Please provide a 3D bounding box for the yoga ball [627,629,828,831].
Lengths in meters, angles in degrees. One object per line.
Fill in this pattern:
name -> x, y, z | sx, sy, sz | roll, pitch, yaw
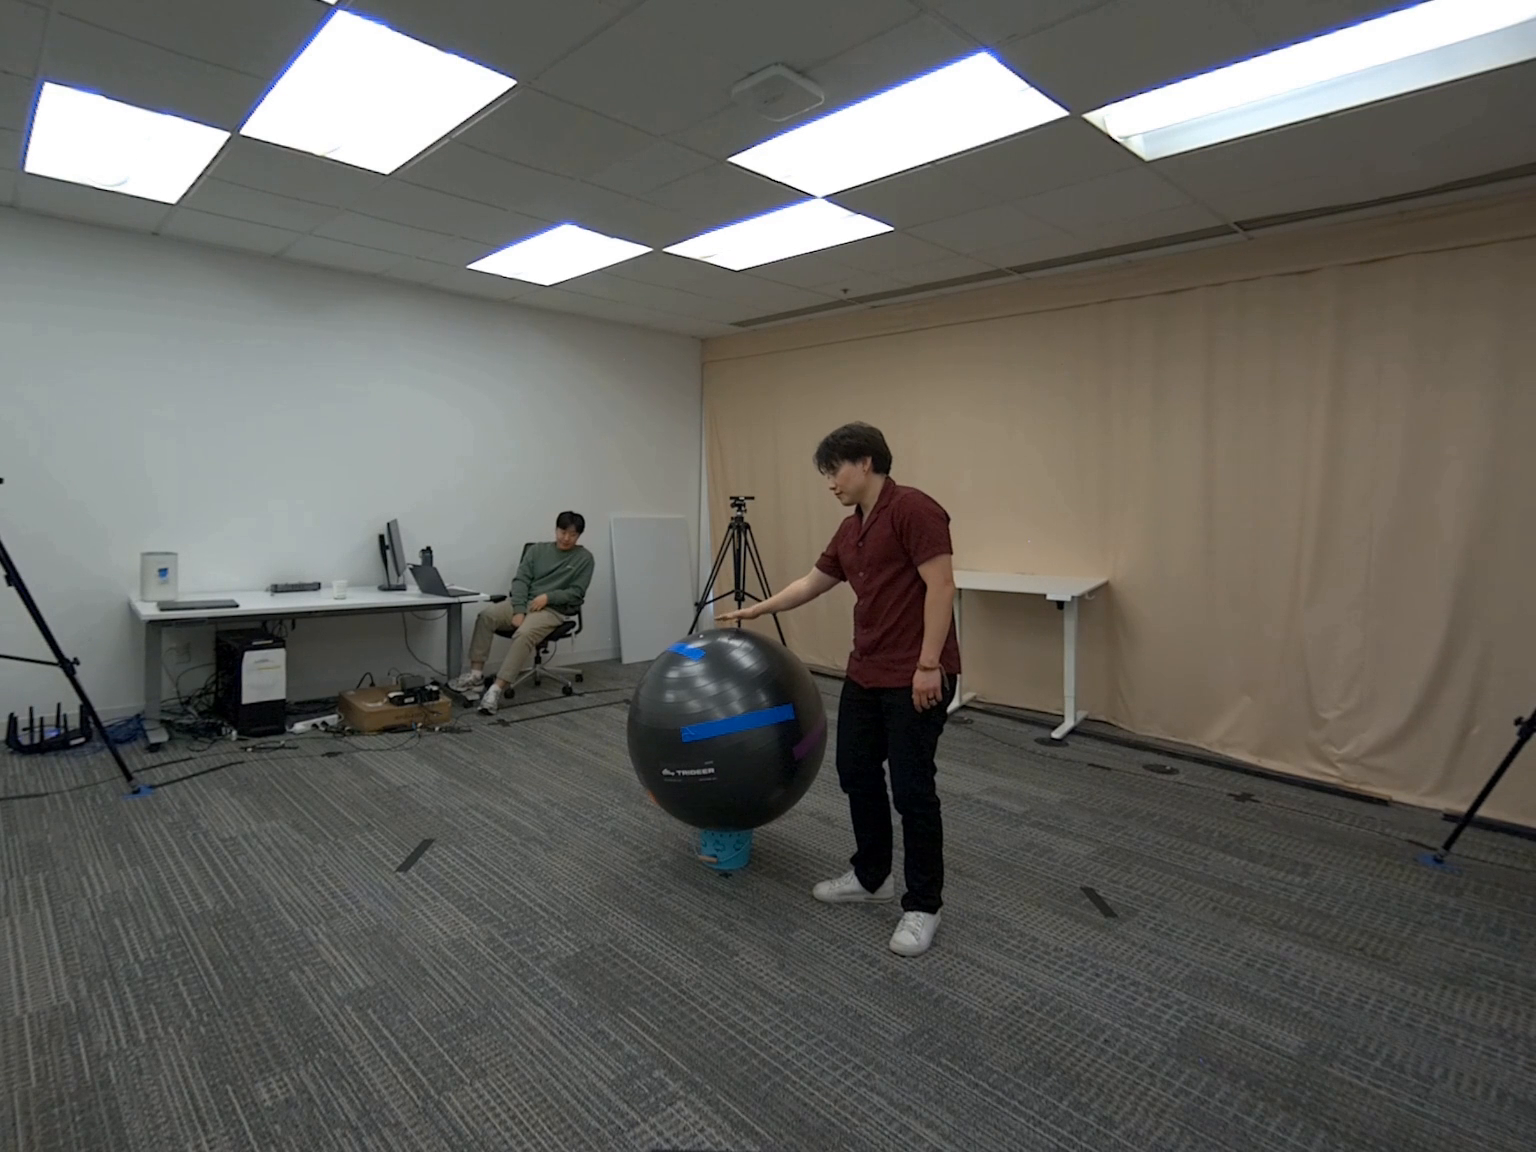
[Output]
yoga ball -> -0.173, 0.588, 3.216 | 0.757, 0.756, 0.761 | 1, 4, -1
